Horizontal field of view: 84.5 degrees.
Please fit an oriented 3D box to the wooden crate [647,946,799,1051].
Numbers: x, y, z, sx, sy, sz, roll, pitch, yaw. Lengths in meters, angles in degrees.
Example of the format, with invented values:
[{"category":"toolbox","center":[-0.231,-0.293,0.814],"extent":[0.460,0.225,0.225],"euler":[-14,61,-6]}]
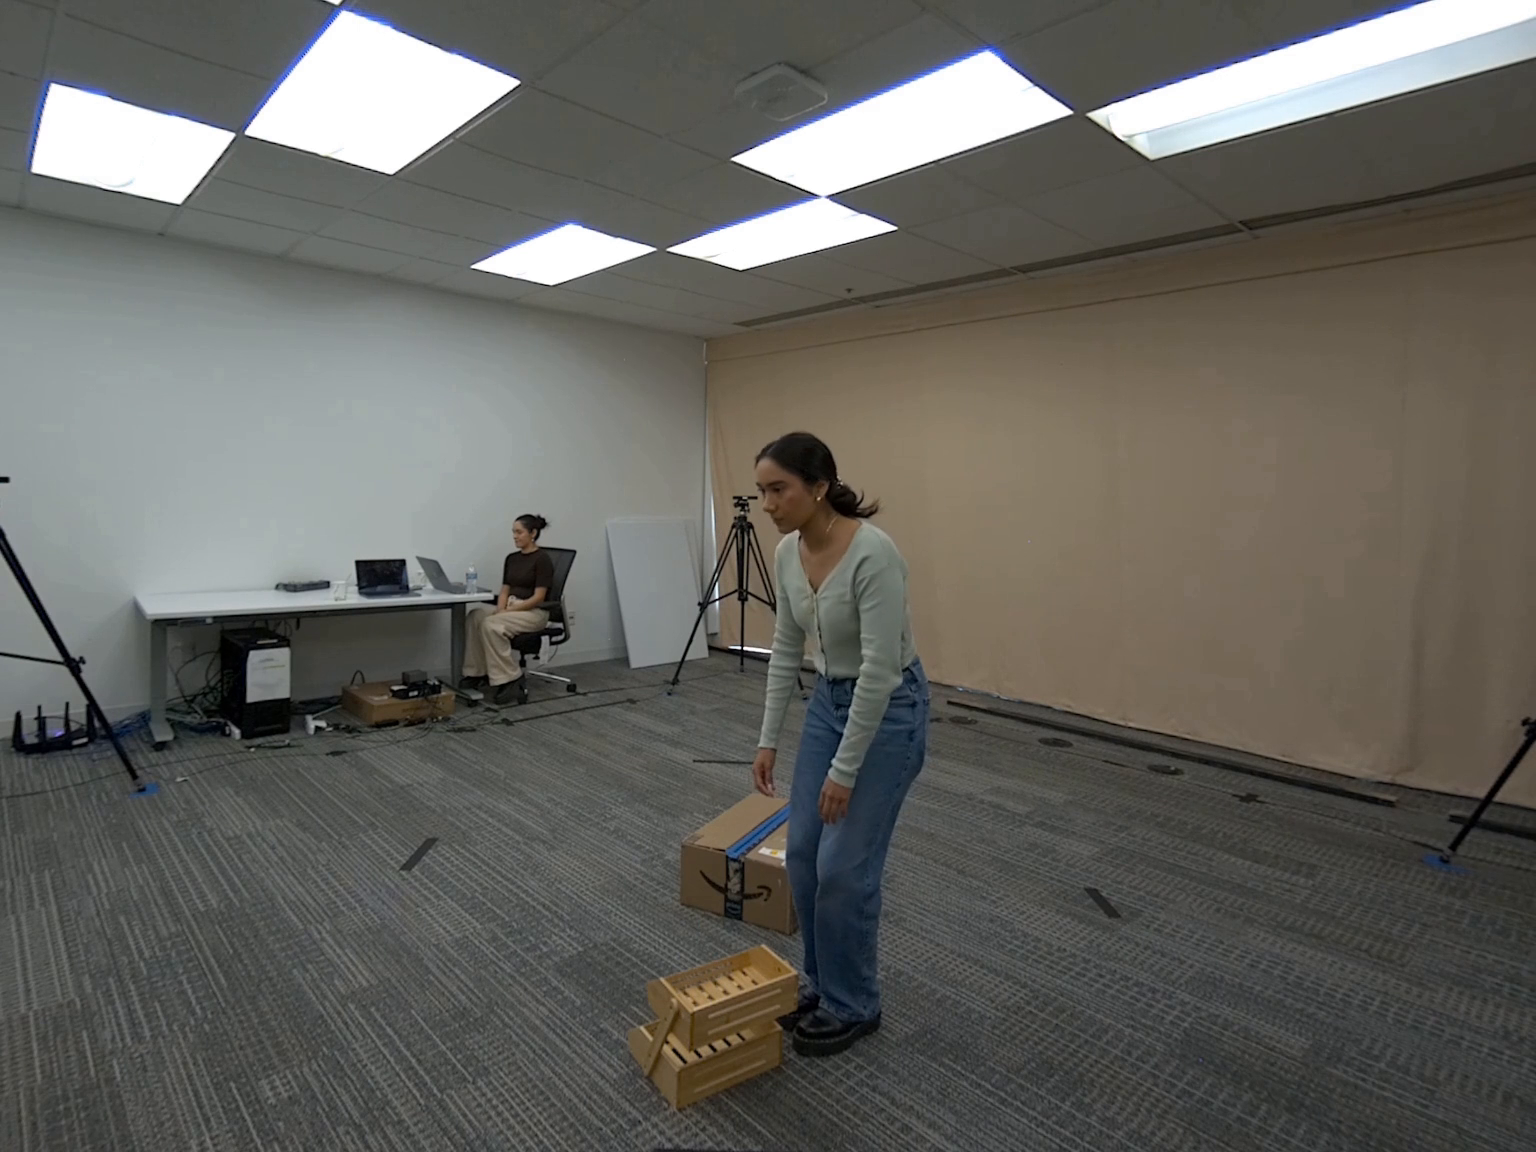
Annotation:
[{"category":"wooden crate","center":[-0.140,1.059,2.068],"extent":[0.317,0.272,0.310],"euler":[-1,6,-35]}]
